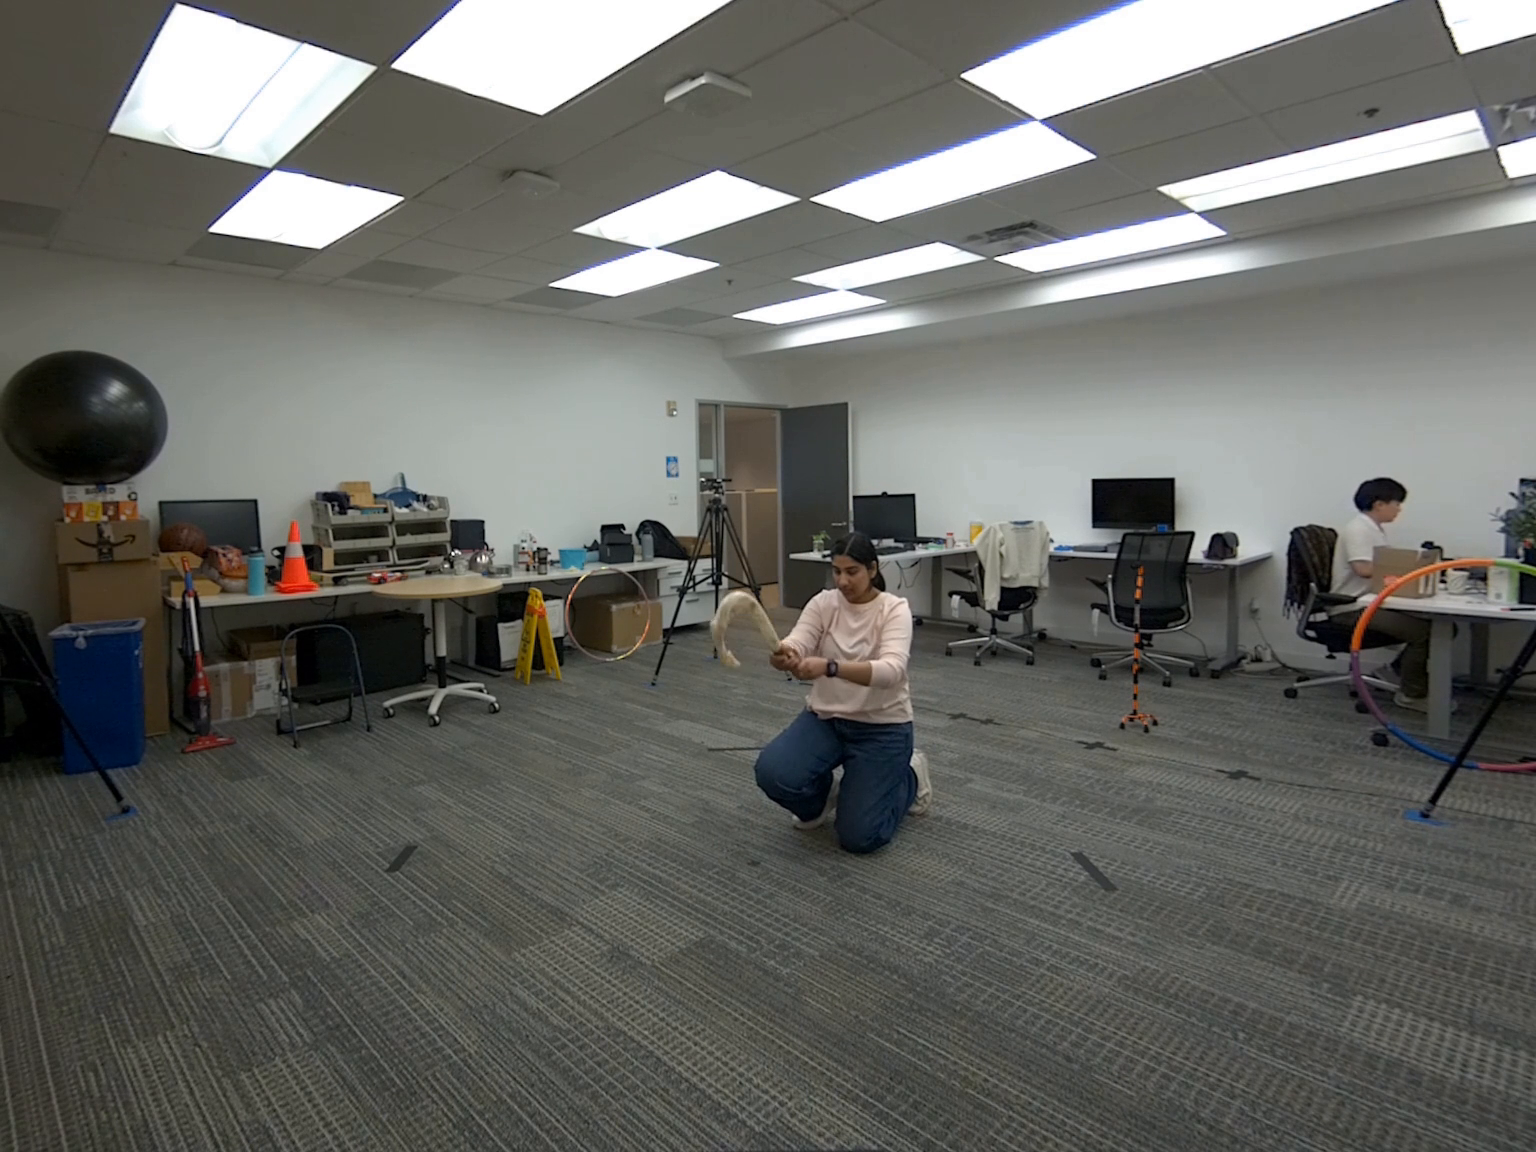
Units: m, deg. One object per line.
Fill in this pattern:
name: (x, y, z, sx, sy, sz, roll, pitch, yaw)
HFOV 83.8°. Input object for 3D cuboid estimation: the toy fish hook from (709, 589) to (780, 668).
toy fish hook: (-0.015, 0.238, 2.770, 0.050, 0.225, 0.487, 12, -25, 46)
